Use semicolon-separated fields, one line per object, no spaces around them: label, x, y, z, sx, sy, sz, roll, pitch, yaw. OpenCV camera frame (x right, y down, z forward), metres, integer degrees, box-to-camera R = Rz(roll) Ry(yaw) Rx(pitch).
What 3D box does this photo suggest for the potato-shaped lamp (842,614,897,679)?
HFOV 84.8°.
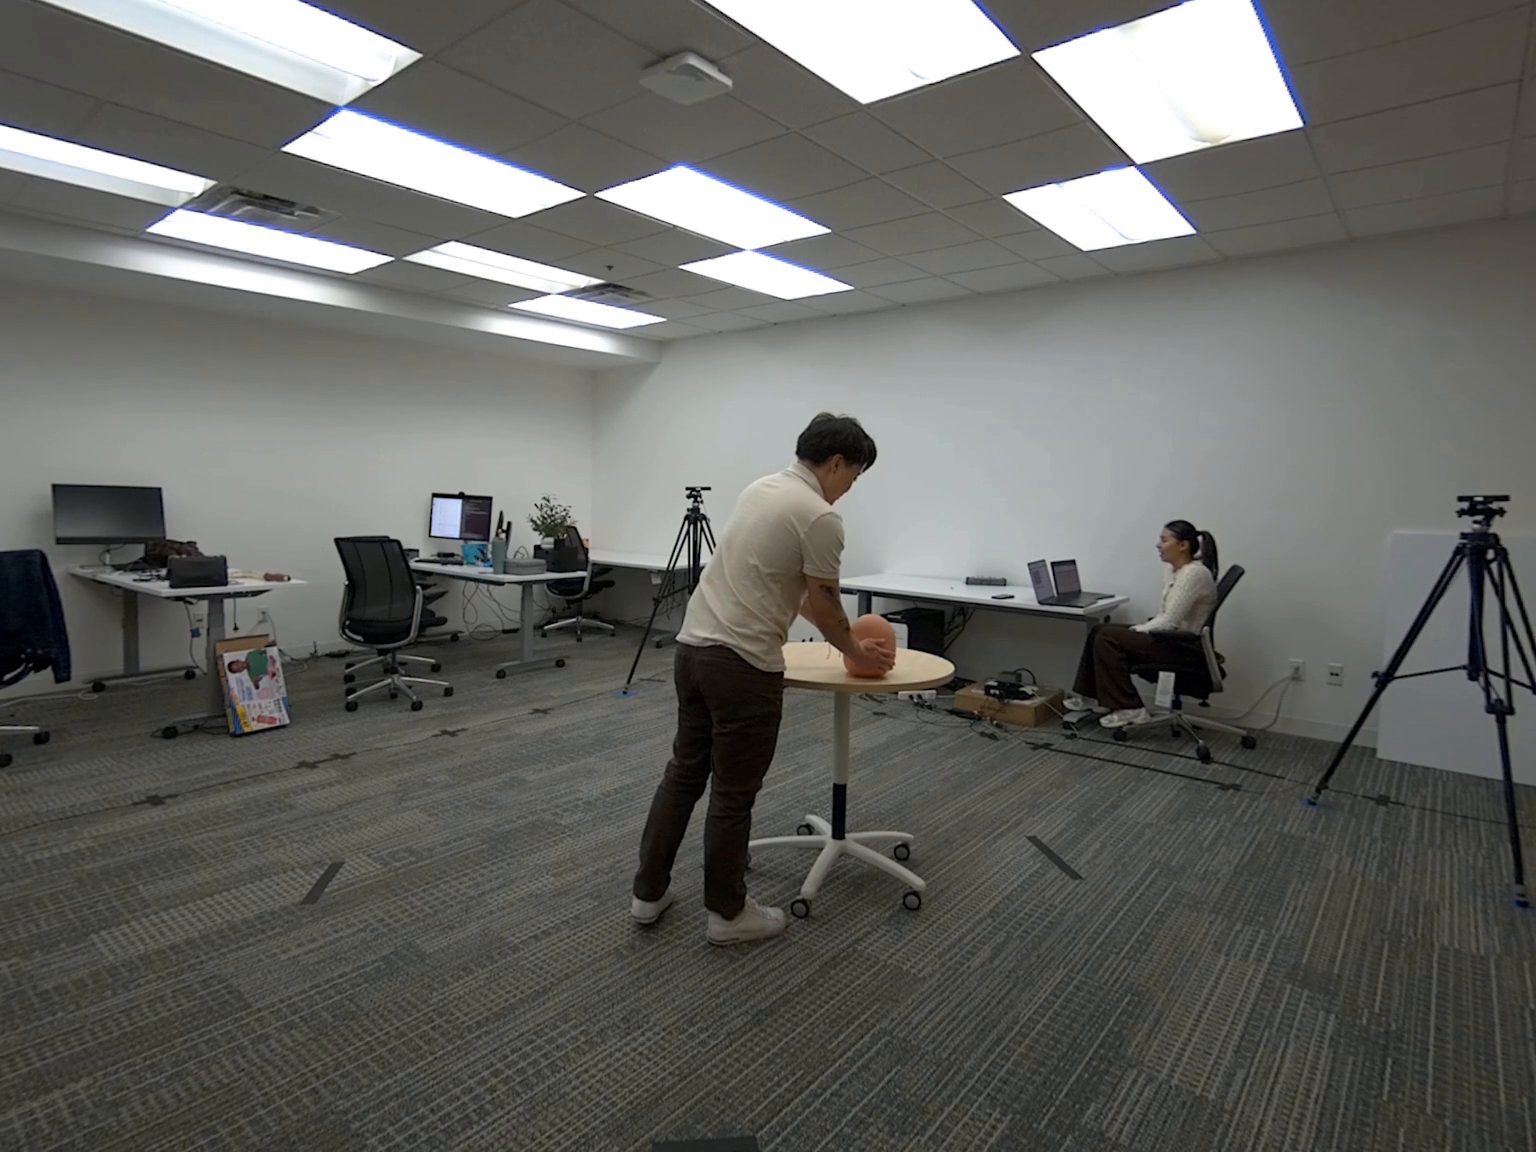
potato-shaped lamp;0.319;0.217;2.803;0.172;0.196;0.166;-5;8;1
